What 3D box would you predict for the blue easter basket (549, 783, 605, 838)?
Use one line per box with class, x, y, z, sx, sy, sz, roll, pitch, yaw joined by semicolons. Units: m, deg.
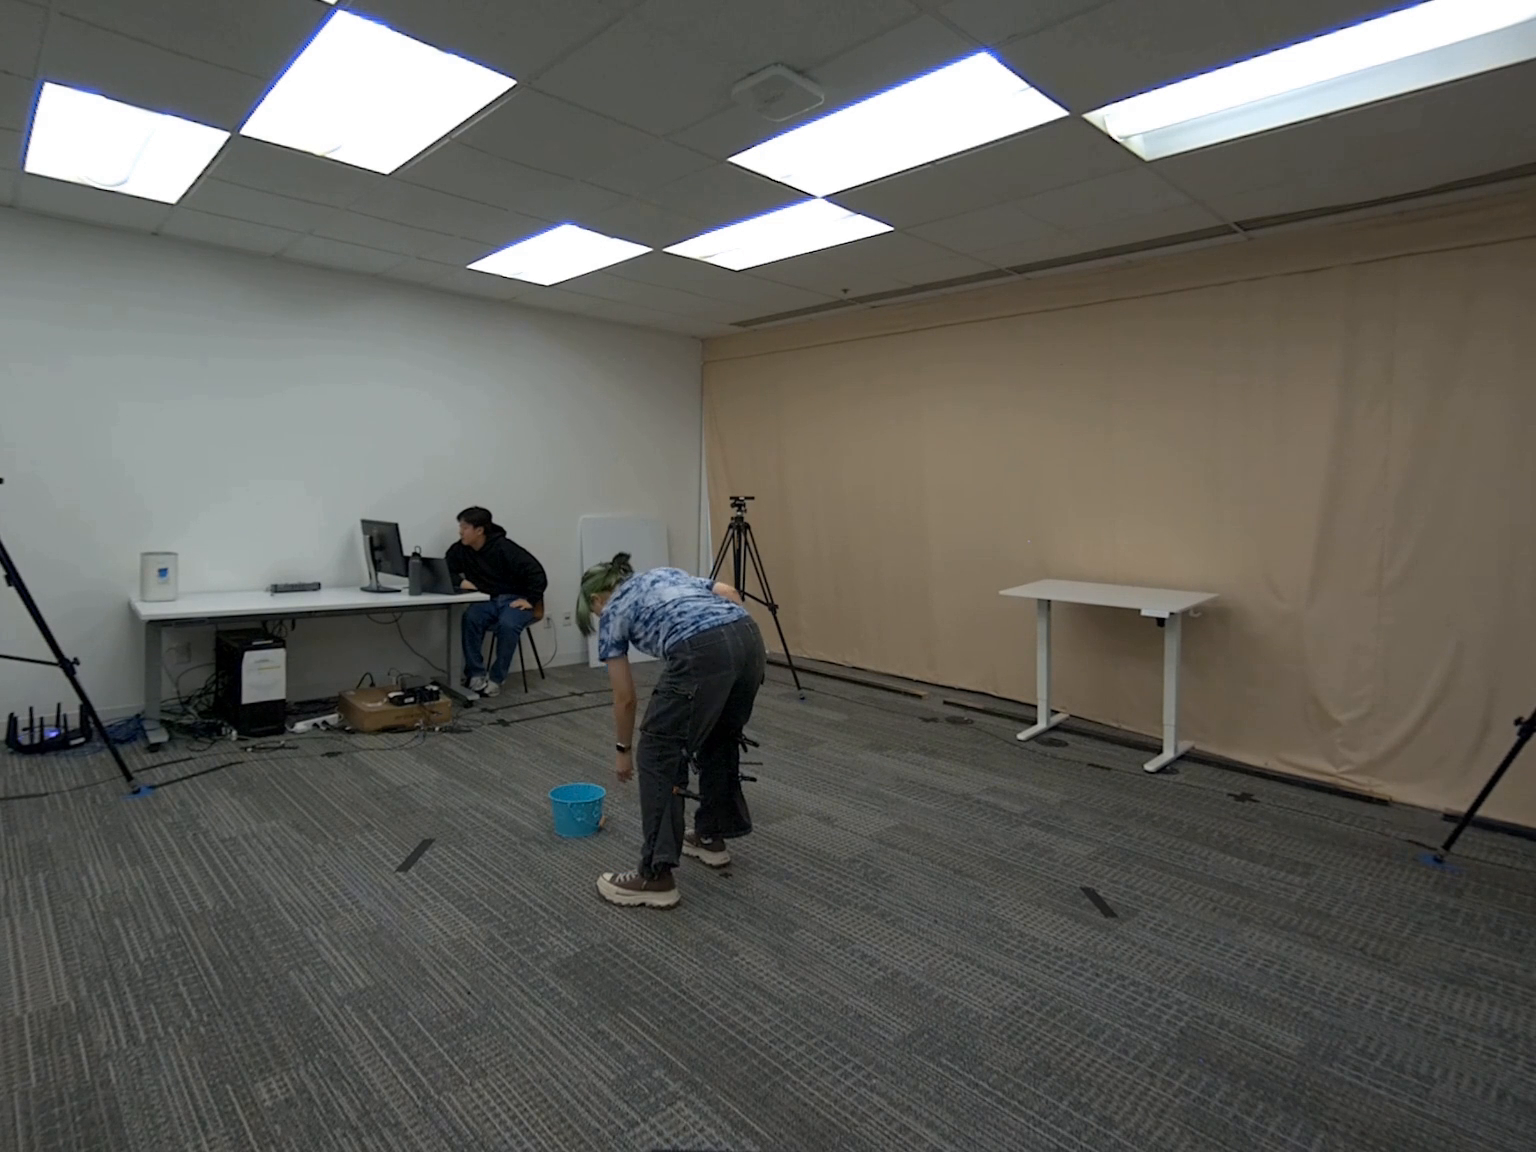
blue easter basket;-0.803;0.975;3.499;0.243;0.155;0.244;2;5;-2
